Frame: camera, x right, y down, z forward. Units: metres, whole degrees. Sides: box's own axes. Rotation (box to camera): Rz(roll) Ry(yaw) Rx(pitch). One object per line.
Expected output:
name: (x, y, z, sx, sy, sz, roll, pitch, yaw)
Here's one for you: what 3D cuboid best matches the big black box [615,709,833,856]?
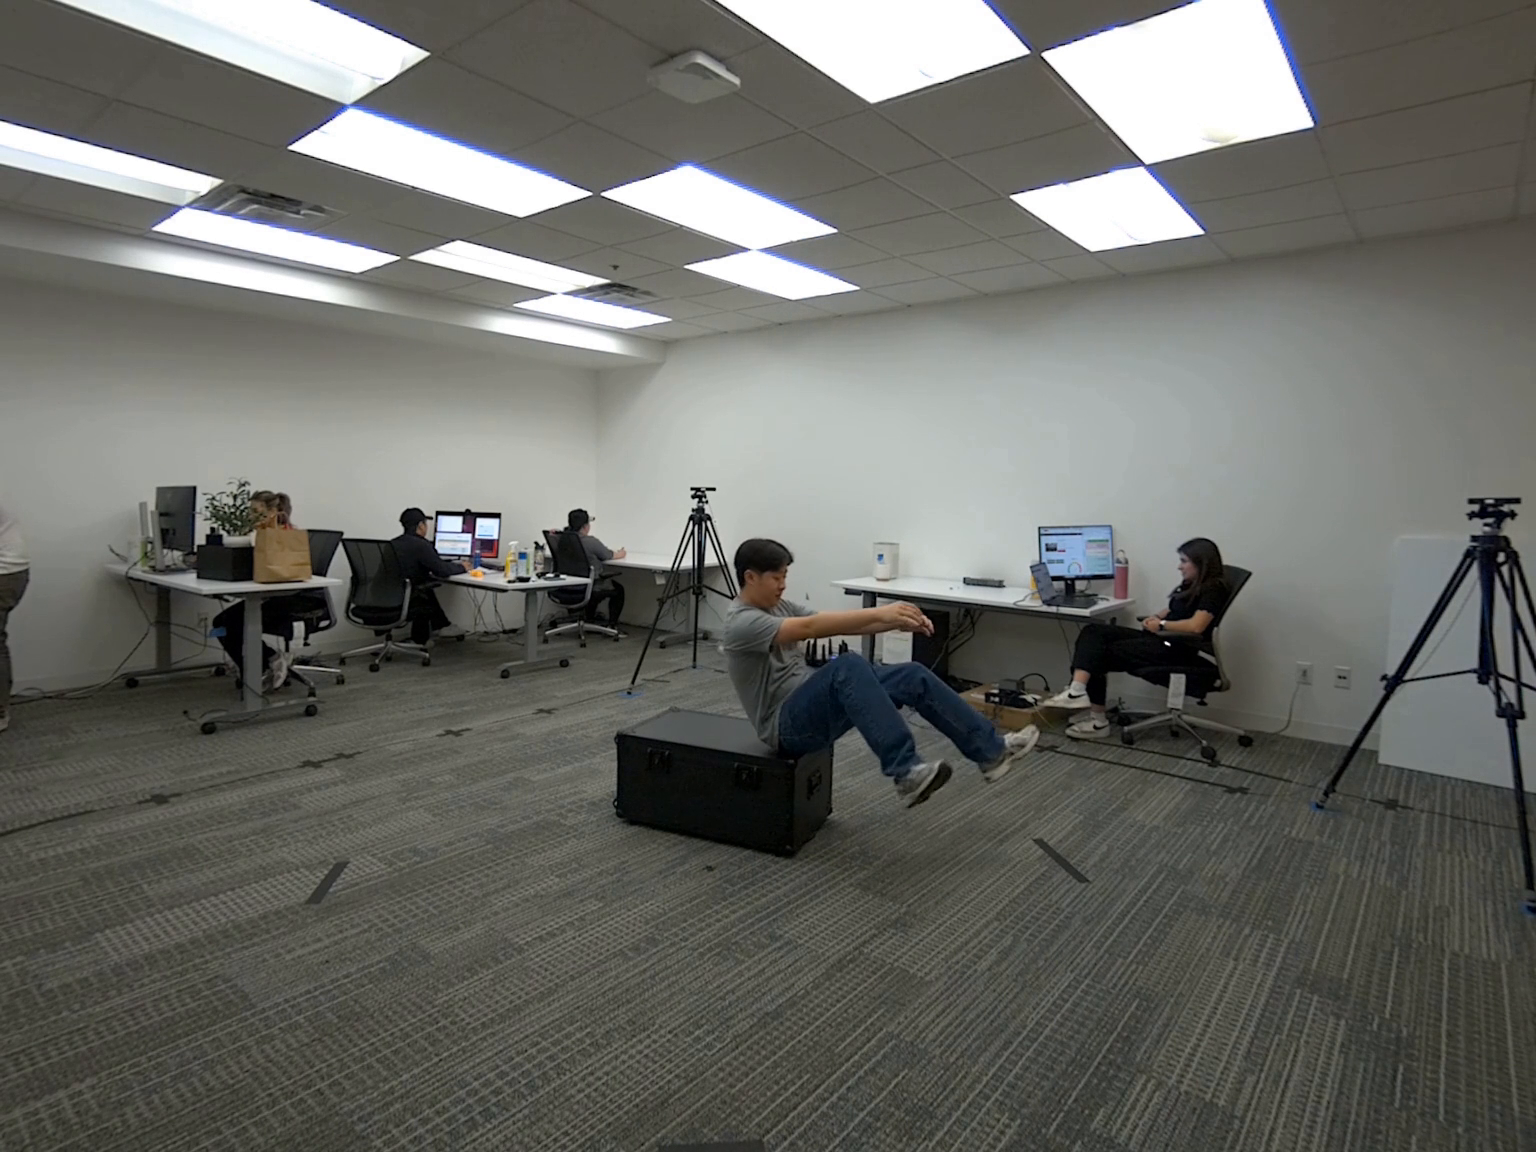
big black box: (-0.213, 0.832, 3.573, 0.883, 0.394, 0.510, 4, 6, 24)
